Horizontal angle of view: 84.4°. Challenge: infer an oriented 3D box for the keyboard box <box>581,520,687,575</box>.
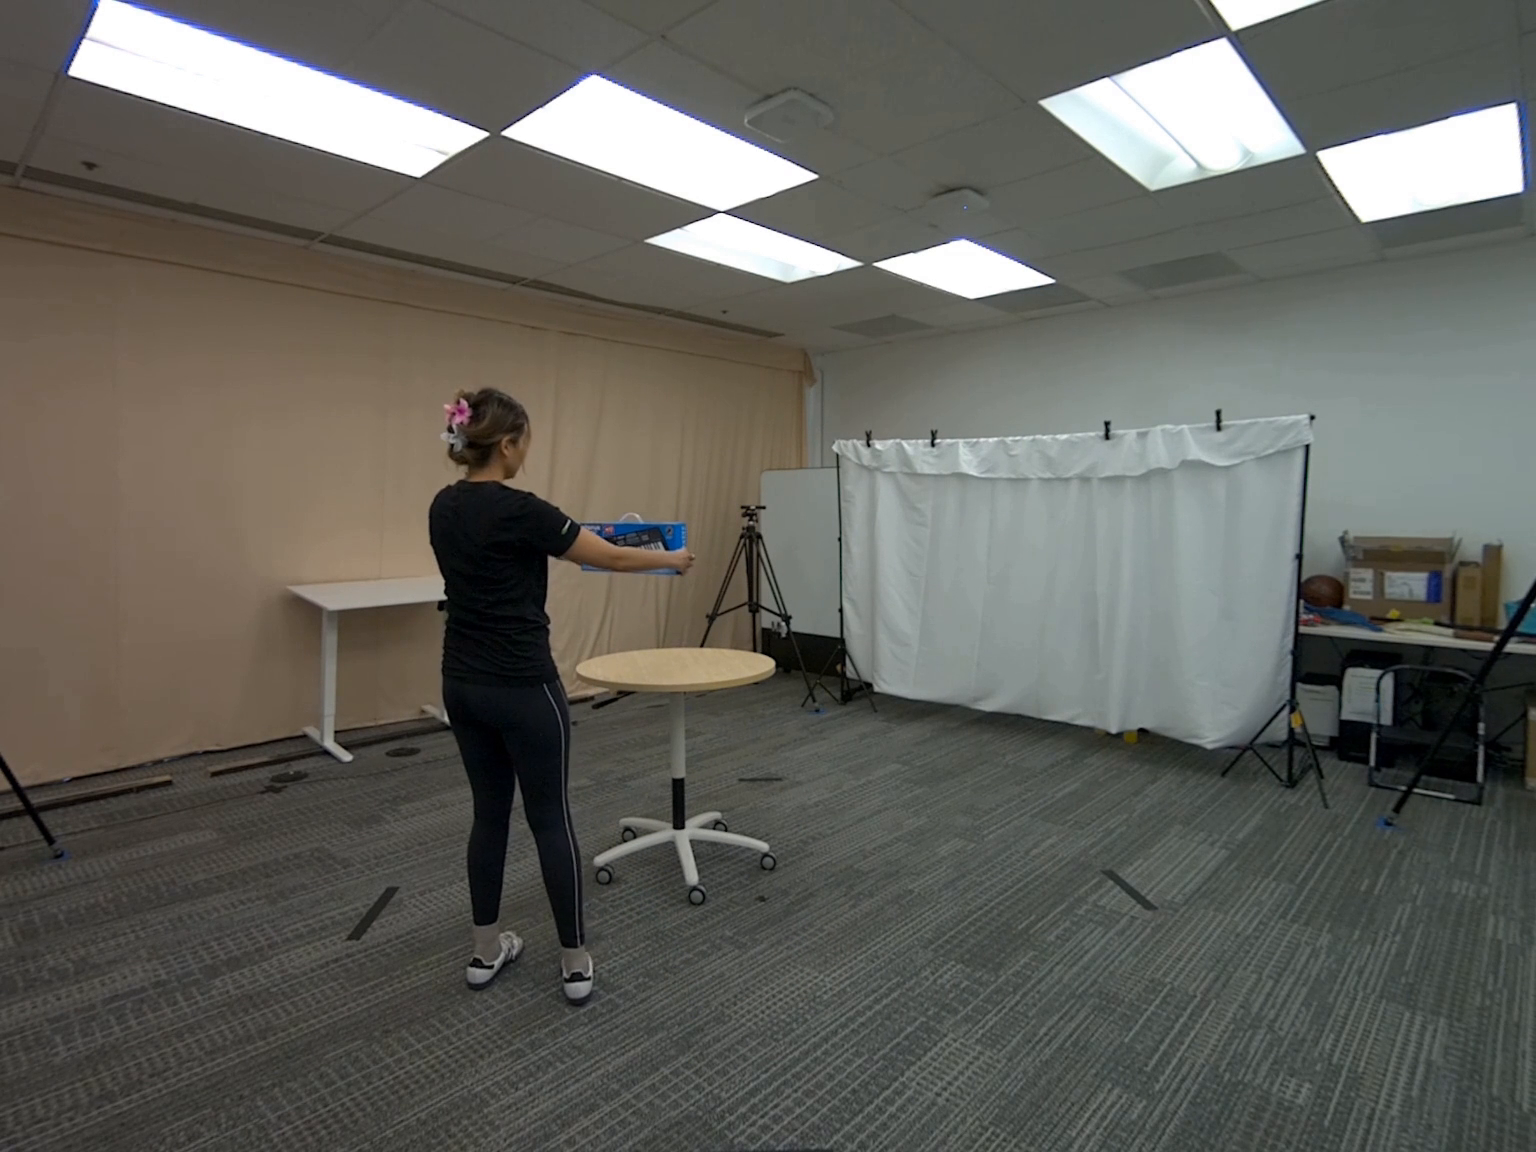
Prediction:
[{"bbox_3d":[-0.471,-0.095,2.907,0.450,0.175,0.057,3,5,34],"label":"keyboard box"}]
